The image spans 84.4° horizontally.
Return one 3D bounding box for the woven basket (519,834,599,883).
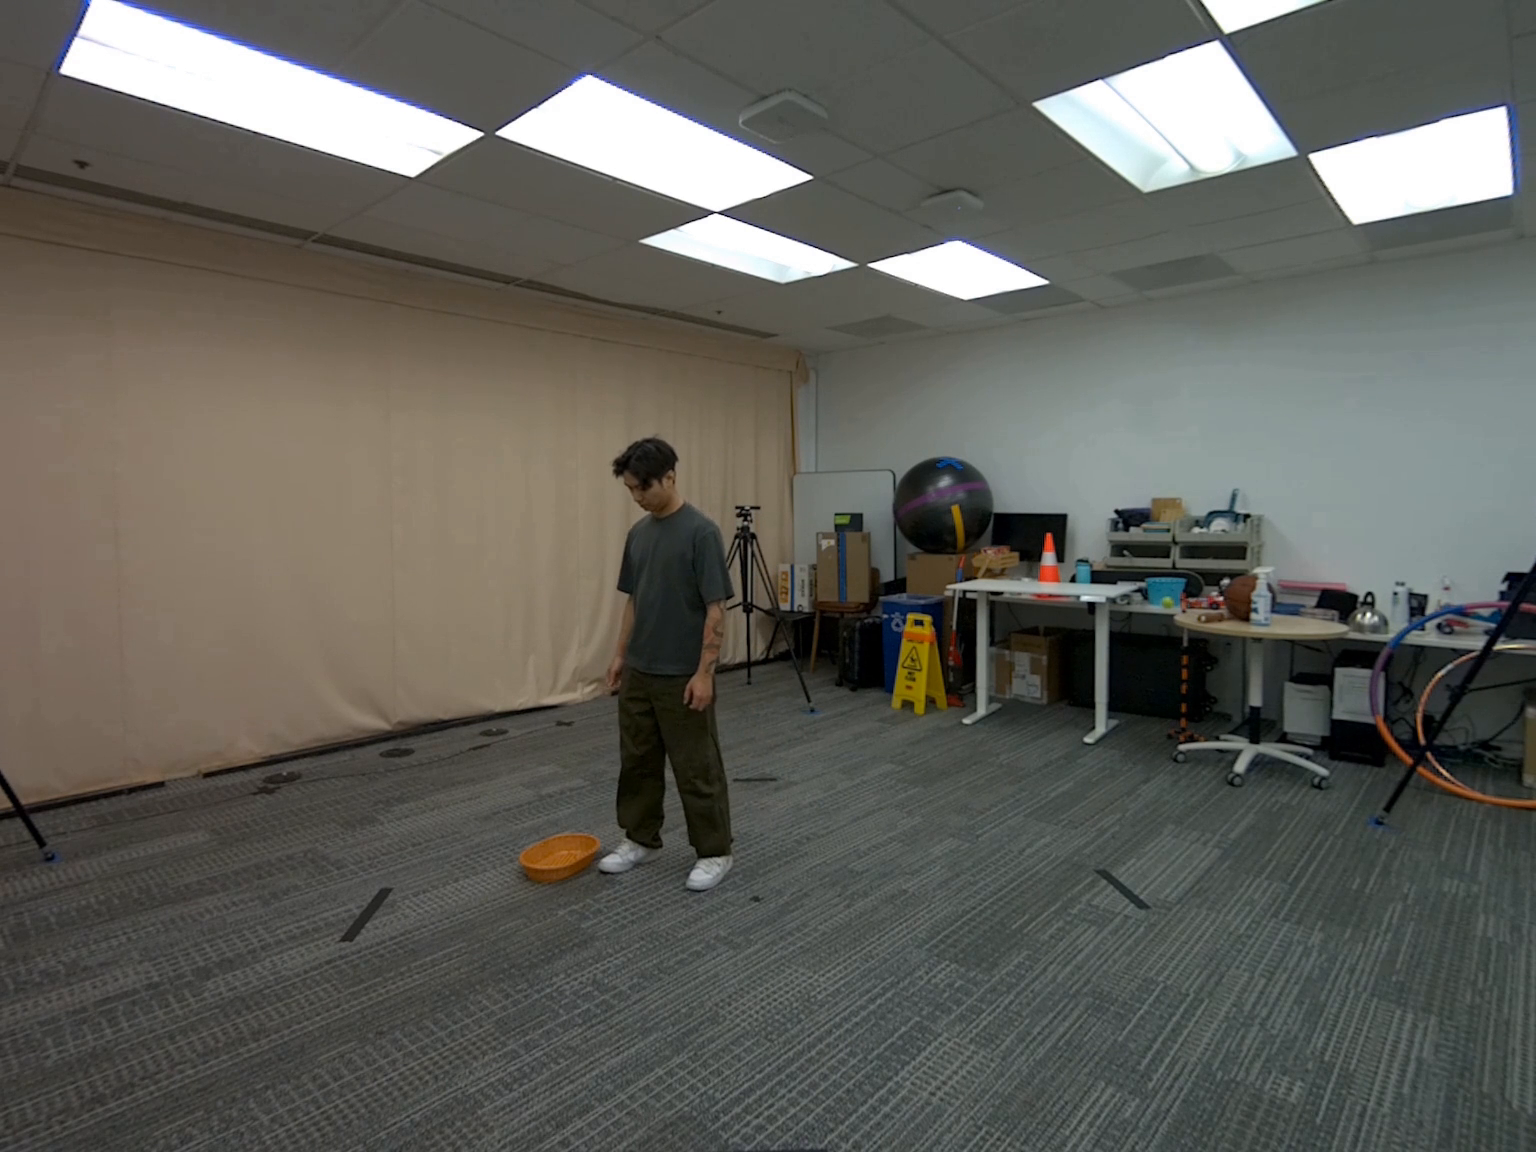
[{"bbox_3d":[-0.804,1.096,3.261,0.260,0.073,0.341,2,5,32],"label":"woven basket"}]
